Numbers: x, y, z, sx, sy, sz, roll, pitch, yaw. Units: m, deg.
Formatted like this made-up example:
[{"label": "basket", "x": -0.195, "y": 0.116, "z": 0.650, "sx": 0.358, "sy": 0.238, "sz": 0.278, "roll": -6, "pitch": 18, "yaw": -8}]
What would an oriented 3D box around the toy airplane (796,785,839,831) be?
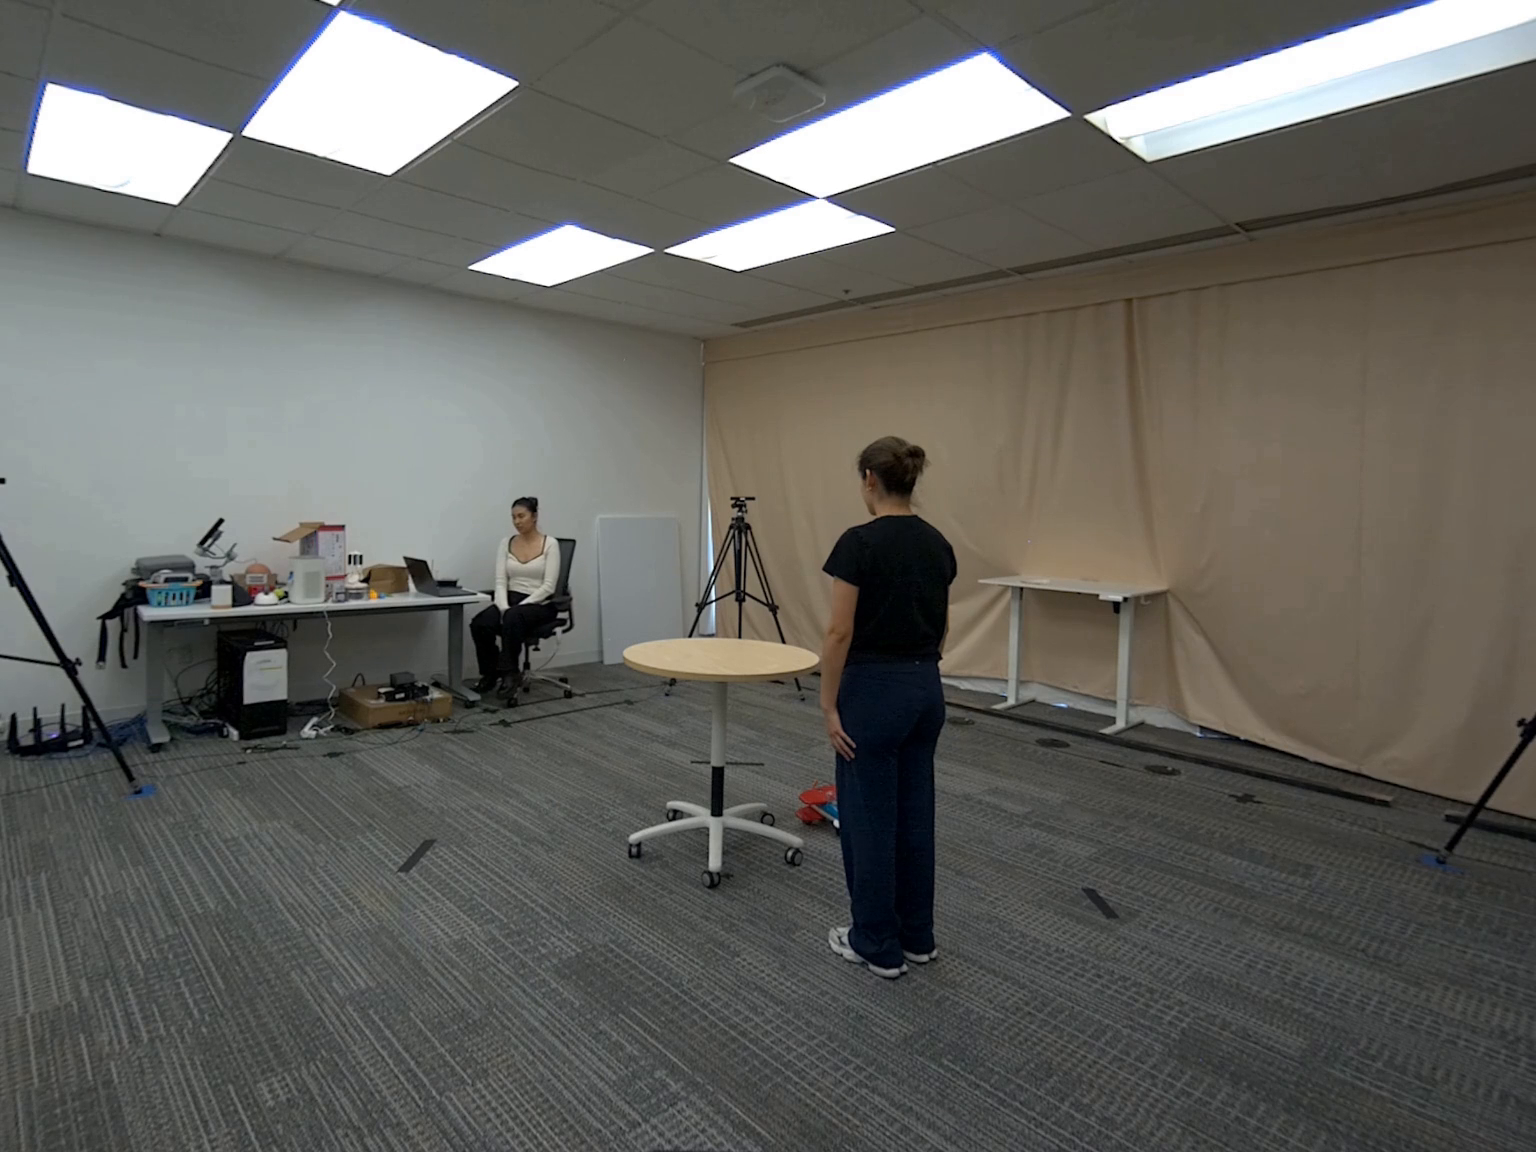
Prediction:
[{"label": "toy airplane", "x": 0.259, "y": 0.999, "z": 3.586, "sx": 0.264, "sy": 0.156, "sz": 0.247, "roll": 1, "pitch": 3, "yaw": 23}]
